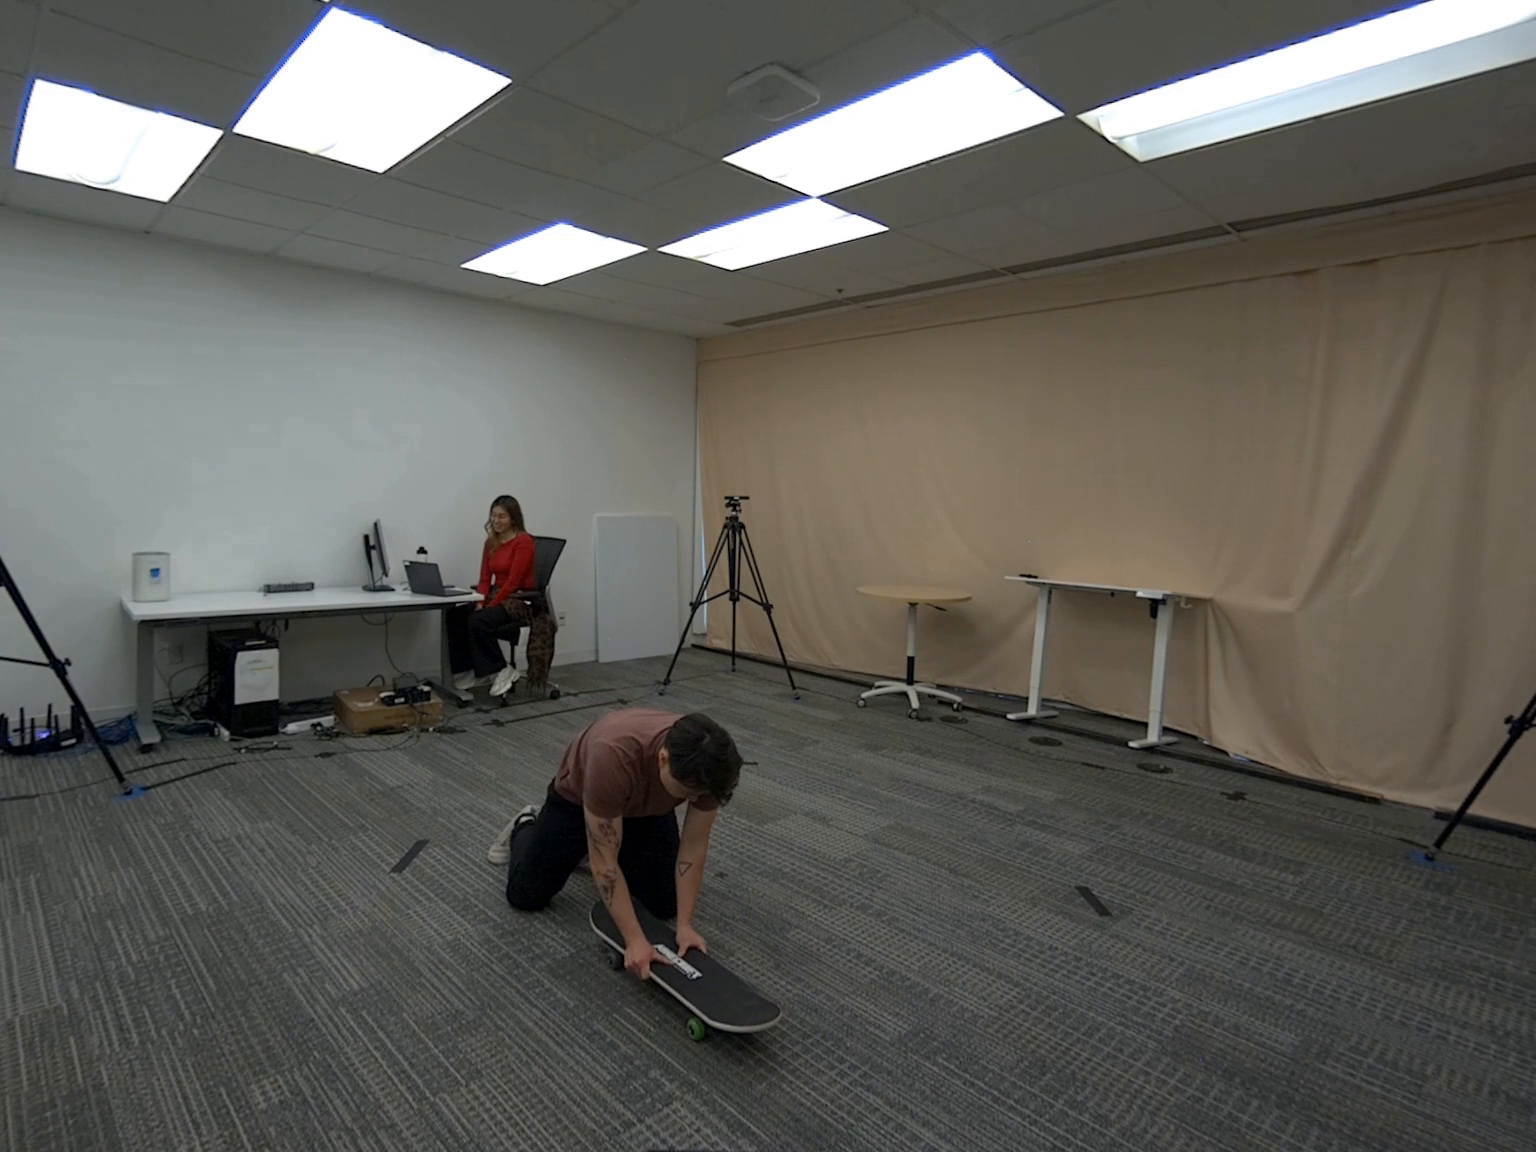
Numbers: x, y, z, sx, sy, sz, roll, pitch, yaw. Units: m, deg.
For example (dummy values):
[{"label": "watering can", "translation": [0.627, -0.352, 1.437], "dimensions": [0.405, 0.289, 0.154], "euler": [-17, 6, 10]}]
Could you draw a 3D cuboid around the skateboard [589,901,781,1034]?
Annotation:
[{"label": "skateboard", "translation": [-0.272, 1.121, 2.369], "dimensions": [0.189, 0.110, 0.805], "euler": [1, 4, -40]}]
